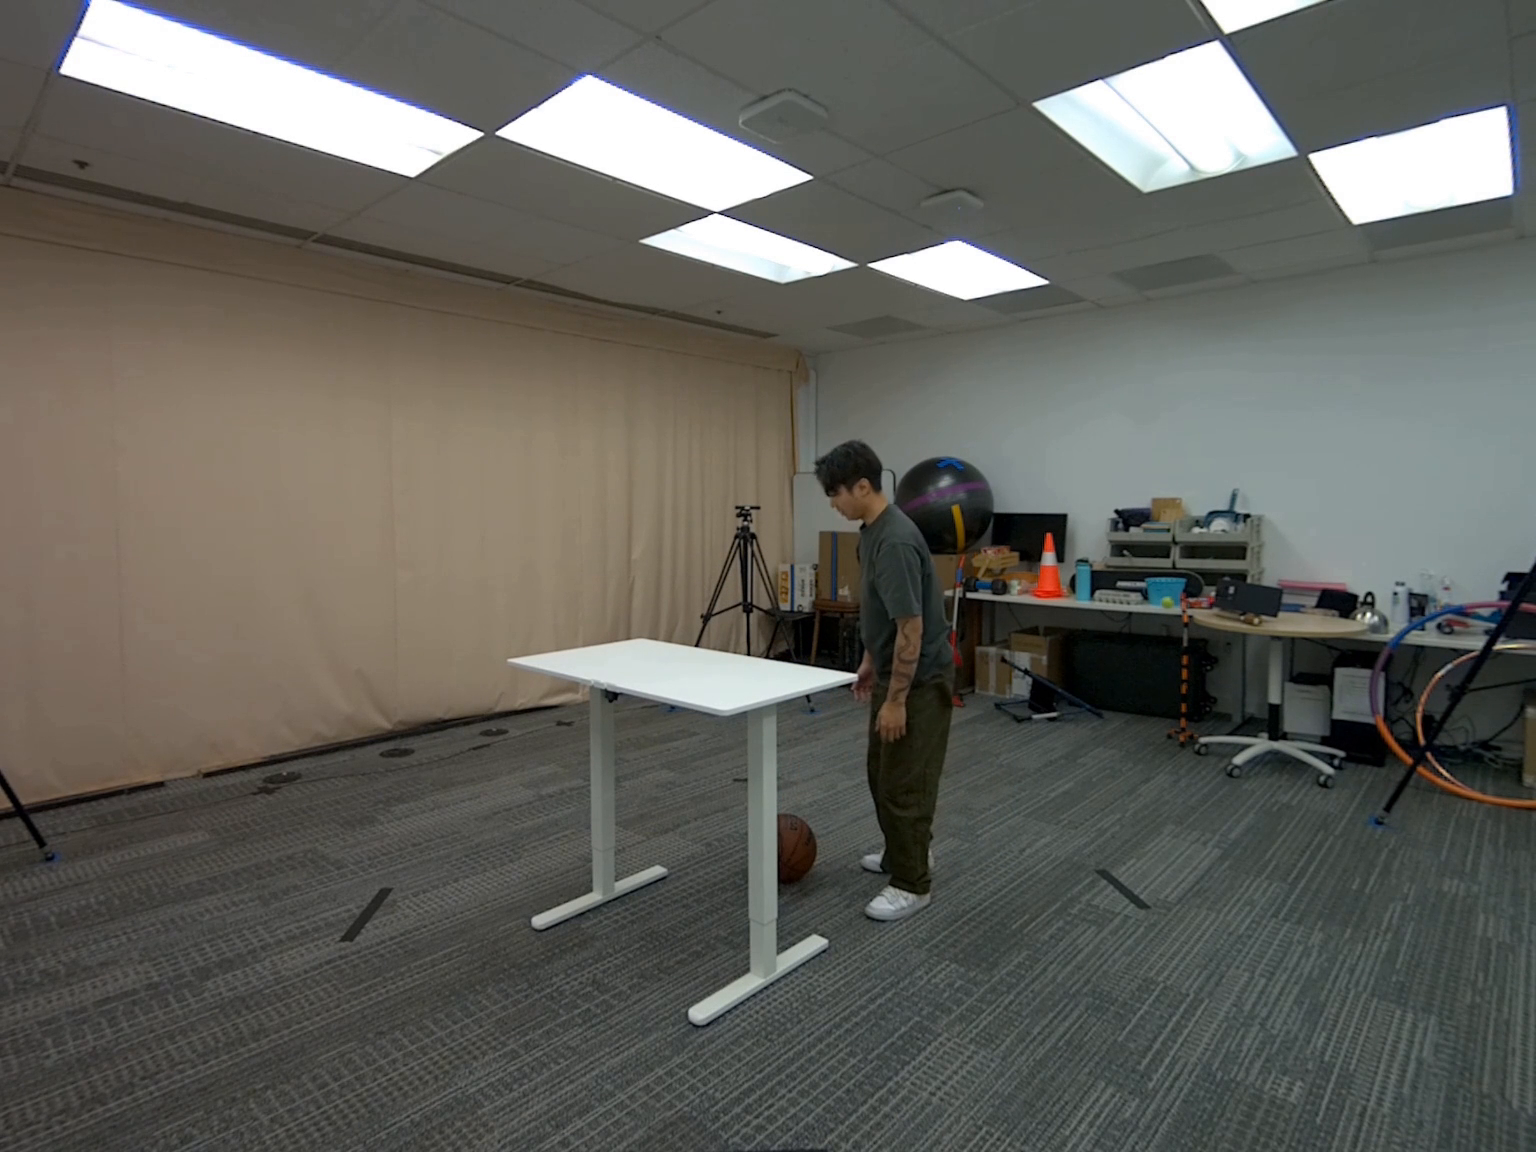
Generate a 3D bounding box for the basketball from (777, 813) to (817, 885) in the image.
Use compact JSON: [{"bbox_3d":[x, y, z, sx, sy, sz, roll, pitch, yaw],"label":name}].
[{"bbox_3d":[0.066,1.012,3.141,0.236,0.235,0.237,0,4,-2],"label":"basketball"}]
